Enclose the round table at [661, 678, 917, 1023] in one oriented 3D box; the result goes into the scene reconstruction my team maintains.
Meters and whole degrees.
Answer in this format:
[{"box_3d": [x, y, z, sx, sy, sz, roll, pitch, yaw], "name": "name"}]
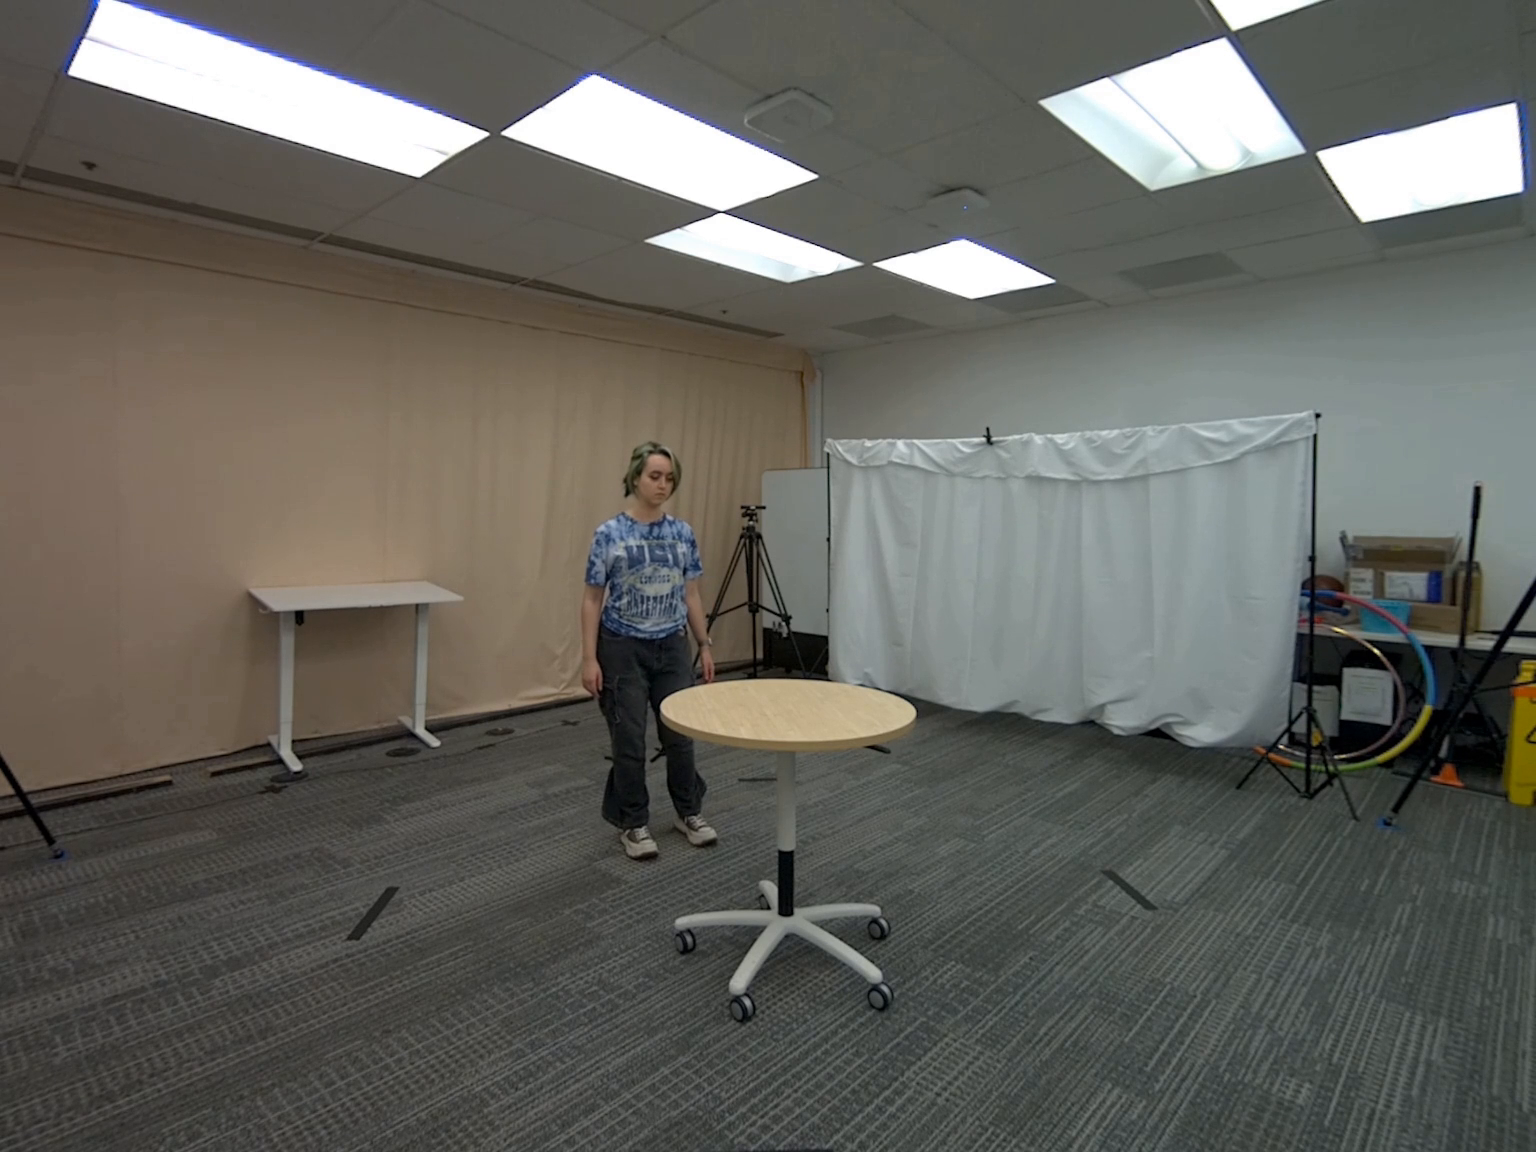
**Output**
[{"box_3d": [0.065, 0.789, 2.572, 0.763, 0.792, 0.767, 0, 4, -2], "name": "round table"}]
